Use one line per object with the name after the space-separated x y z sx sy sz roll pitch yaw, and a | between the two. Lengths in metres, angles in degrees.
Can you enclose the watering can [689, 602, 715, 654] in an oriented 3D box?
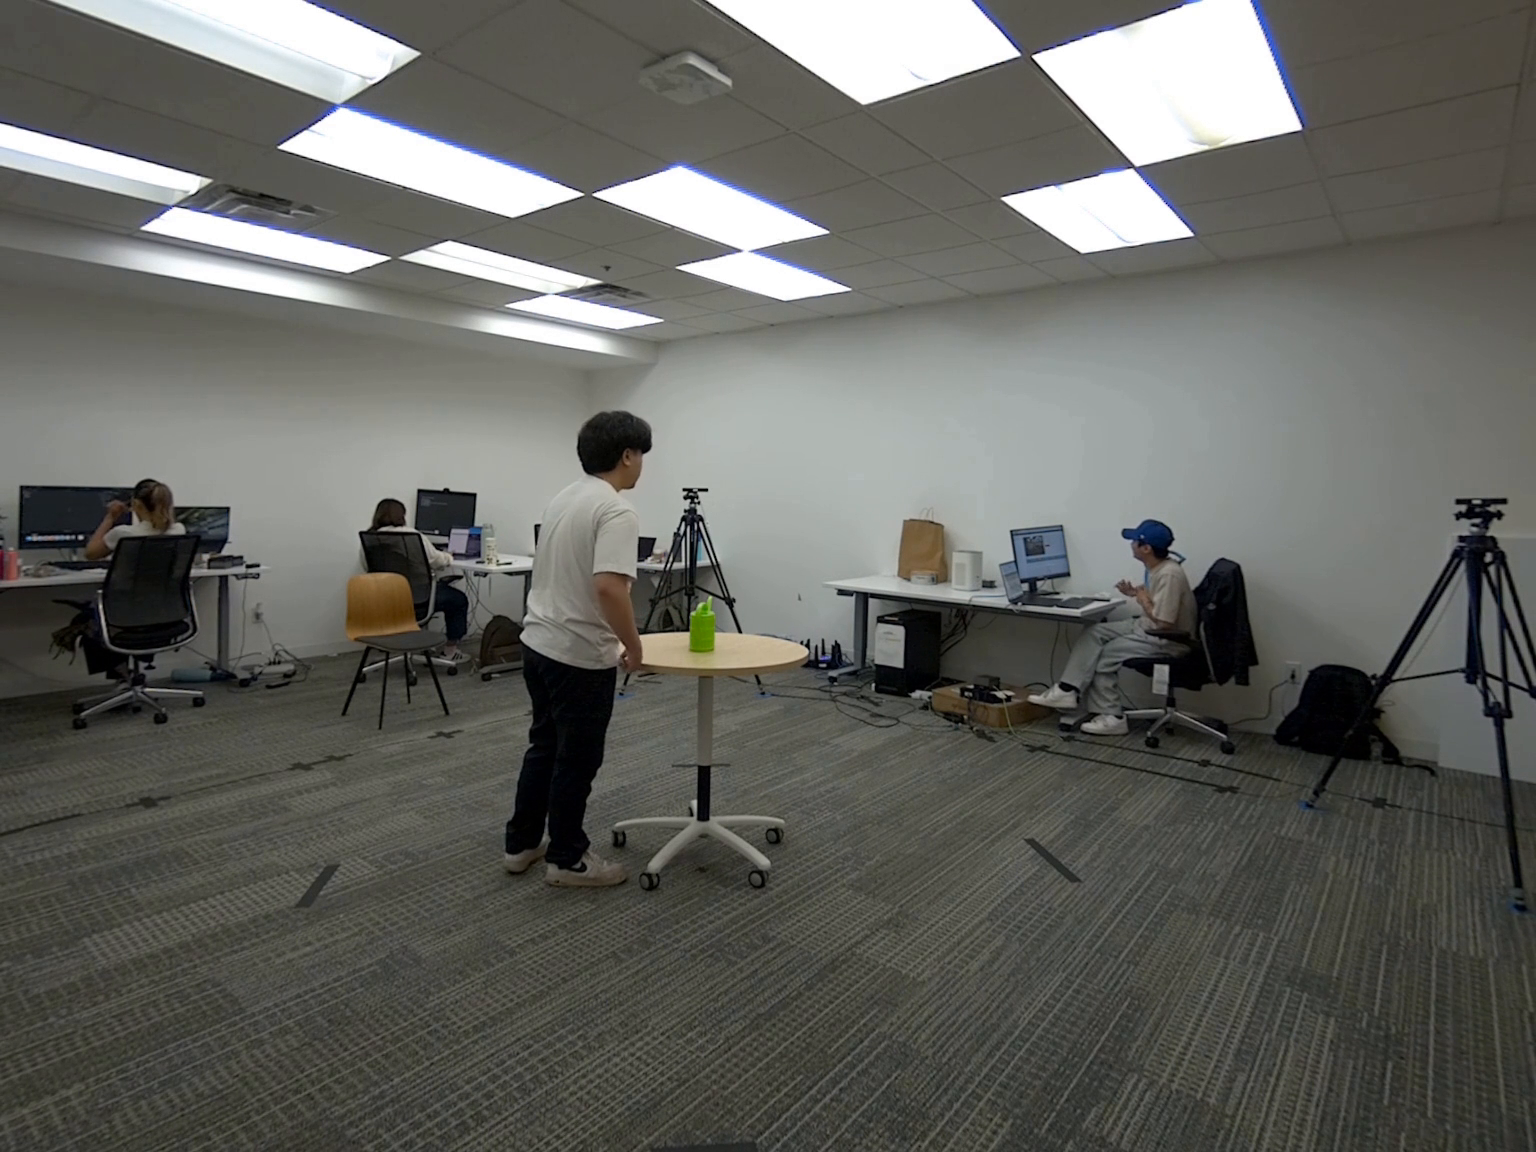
-0.237 0.187 3.202 0.101 0.176 0.271 2 6 30 | watering can
